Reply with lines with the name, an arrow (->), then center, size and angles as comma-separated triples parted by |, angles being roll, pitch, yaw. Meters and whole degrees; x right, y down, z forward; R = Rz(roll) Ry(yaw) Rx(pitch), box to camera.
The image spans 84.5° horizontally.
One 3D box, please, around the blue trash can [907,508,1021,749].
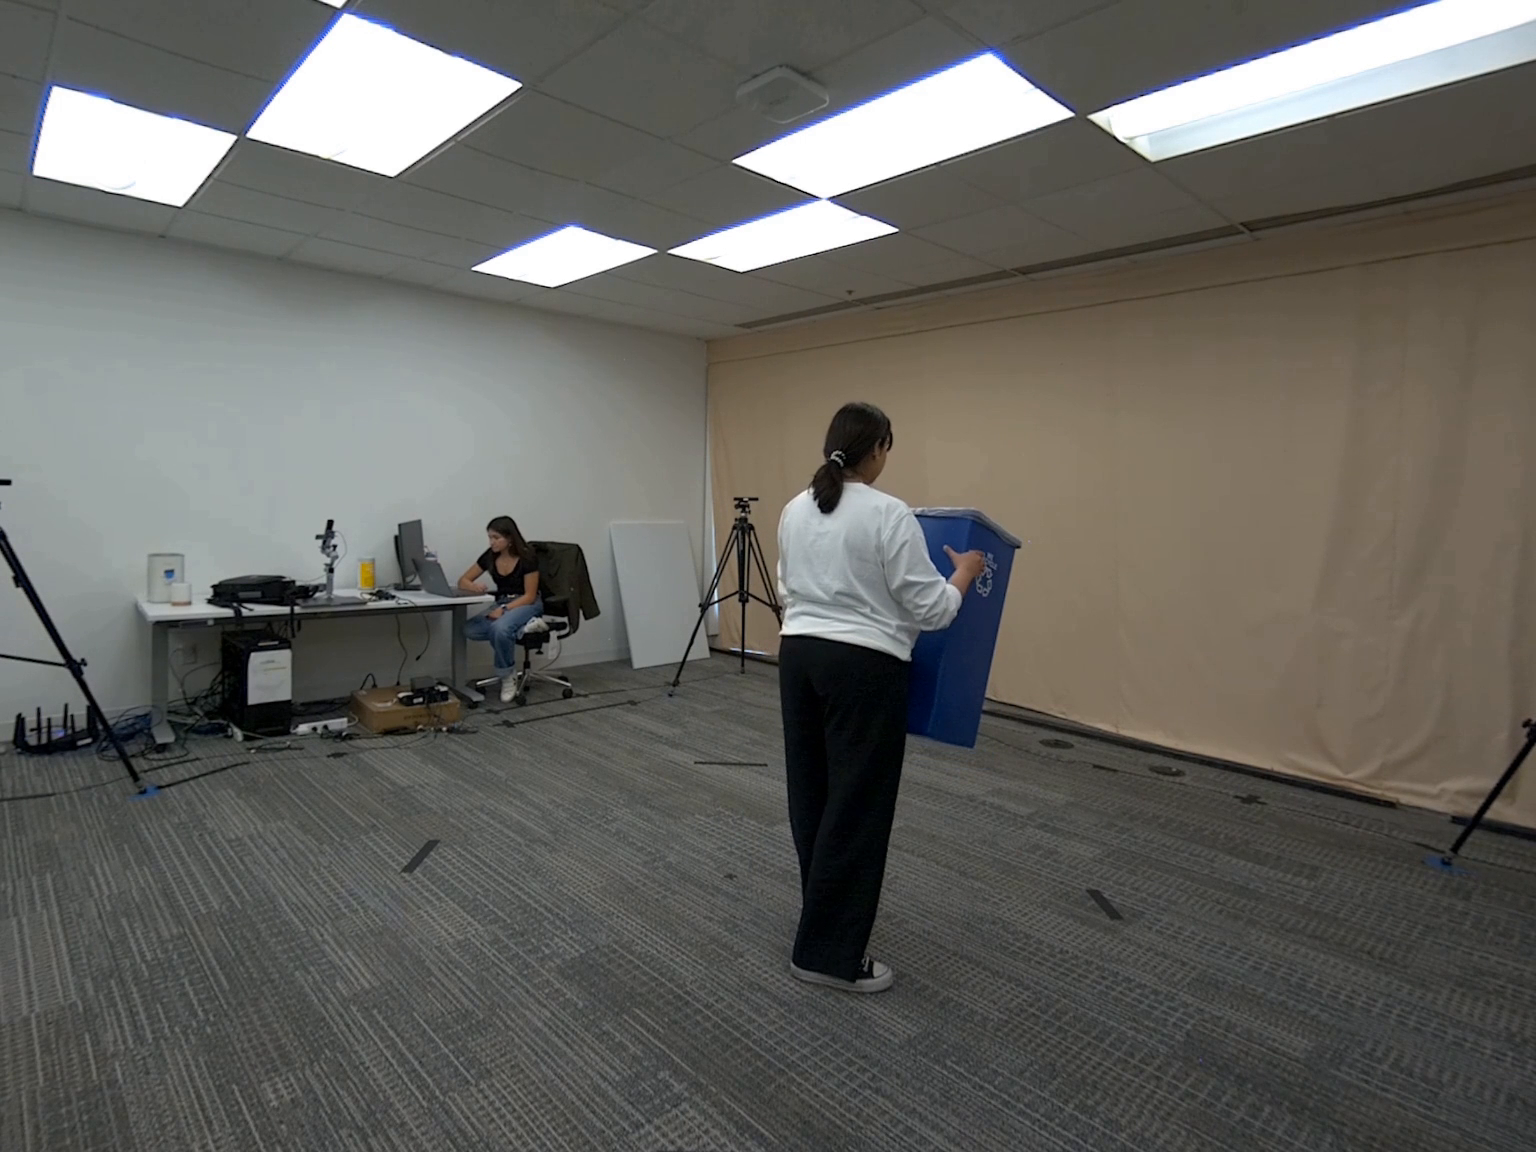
blue trash can -> 0.541, 0.168, 2.793 | 0.387, 0.717, 0.363 | 3, -13, 42
